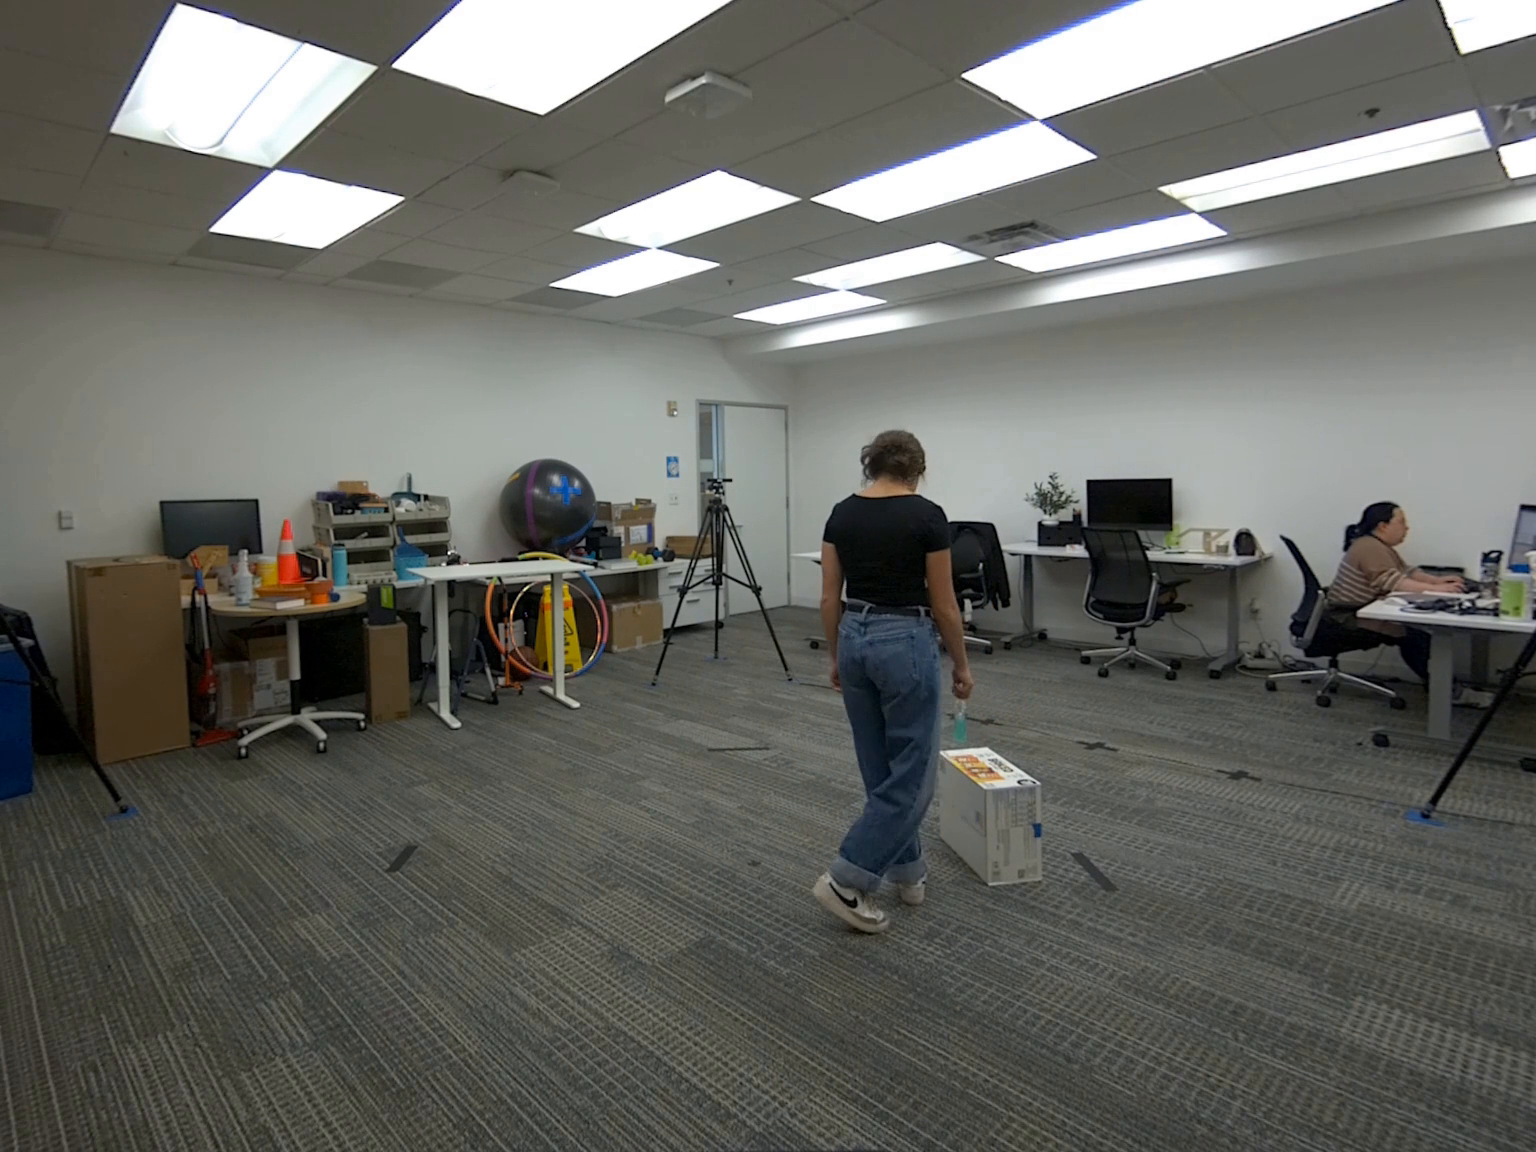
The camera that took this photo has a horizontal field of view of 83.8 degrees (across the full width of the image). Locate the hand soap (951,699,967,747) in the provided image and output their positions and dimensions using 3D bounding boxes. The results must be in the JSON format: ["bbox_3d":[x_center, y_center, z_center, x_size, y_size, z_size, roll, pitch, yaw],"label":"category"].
[{"bbox_3d":[0.624,0.452,2.782,0.044,0.167,0.084,-4,6,6],"label":"hand soap"}]
